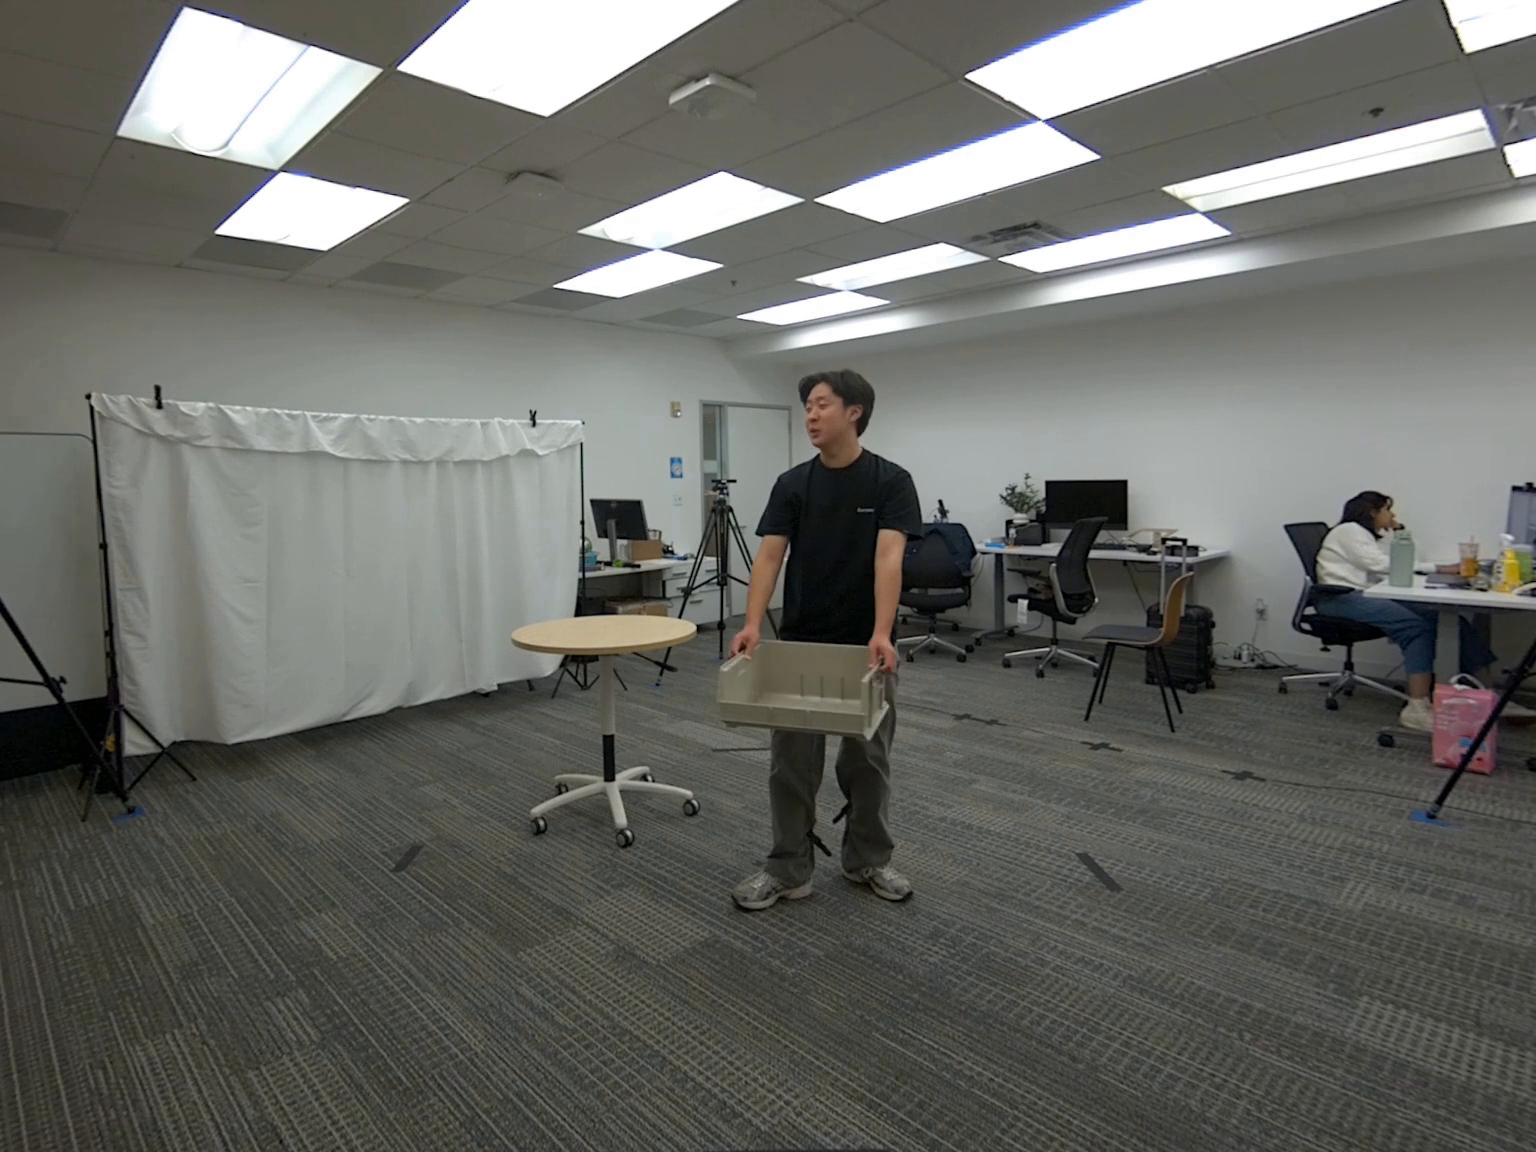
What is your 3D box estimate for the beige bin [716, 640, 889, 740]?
[{"bbox_3d":[0.110,0.331,2.478,0.430,0.188,0.373,1,7,18],"label":"beige bin"}]
